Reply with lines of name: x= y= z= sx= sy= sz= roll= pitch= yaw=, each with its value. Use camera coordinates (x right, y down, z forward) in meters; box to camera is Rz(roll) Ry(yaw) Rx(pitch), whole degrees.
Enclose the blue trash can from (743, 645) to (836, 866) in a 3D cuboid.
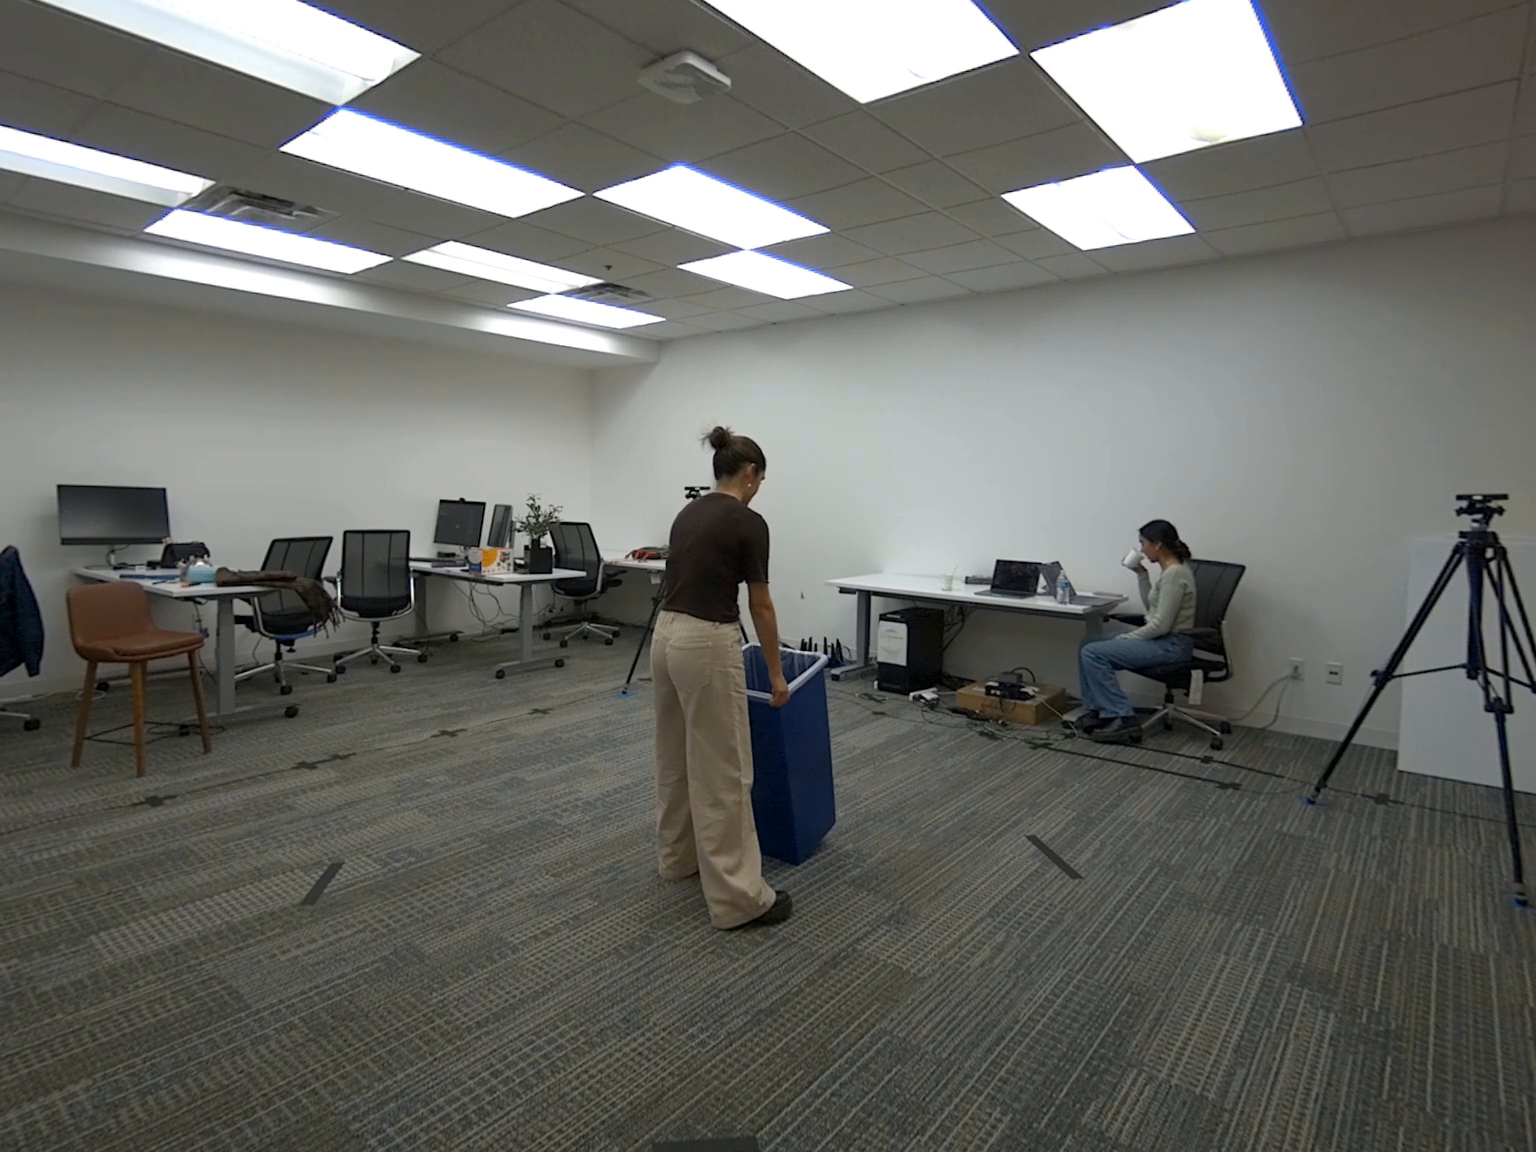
blue trash can: x=0.016 y=0.672 z=3.227 sx=0.390 sy=0.701 sz=0.368 roll=4 pitch=20 yaw=35
